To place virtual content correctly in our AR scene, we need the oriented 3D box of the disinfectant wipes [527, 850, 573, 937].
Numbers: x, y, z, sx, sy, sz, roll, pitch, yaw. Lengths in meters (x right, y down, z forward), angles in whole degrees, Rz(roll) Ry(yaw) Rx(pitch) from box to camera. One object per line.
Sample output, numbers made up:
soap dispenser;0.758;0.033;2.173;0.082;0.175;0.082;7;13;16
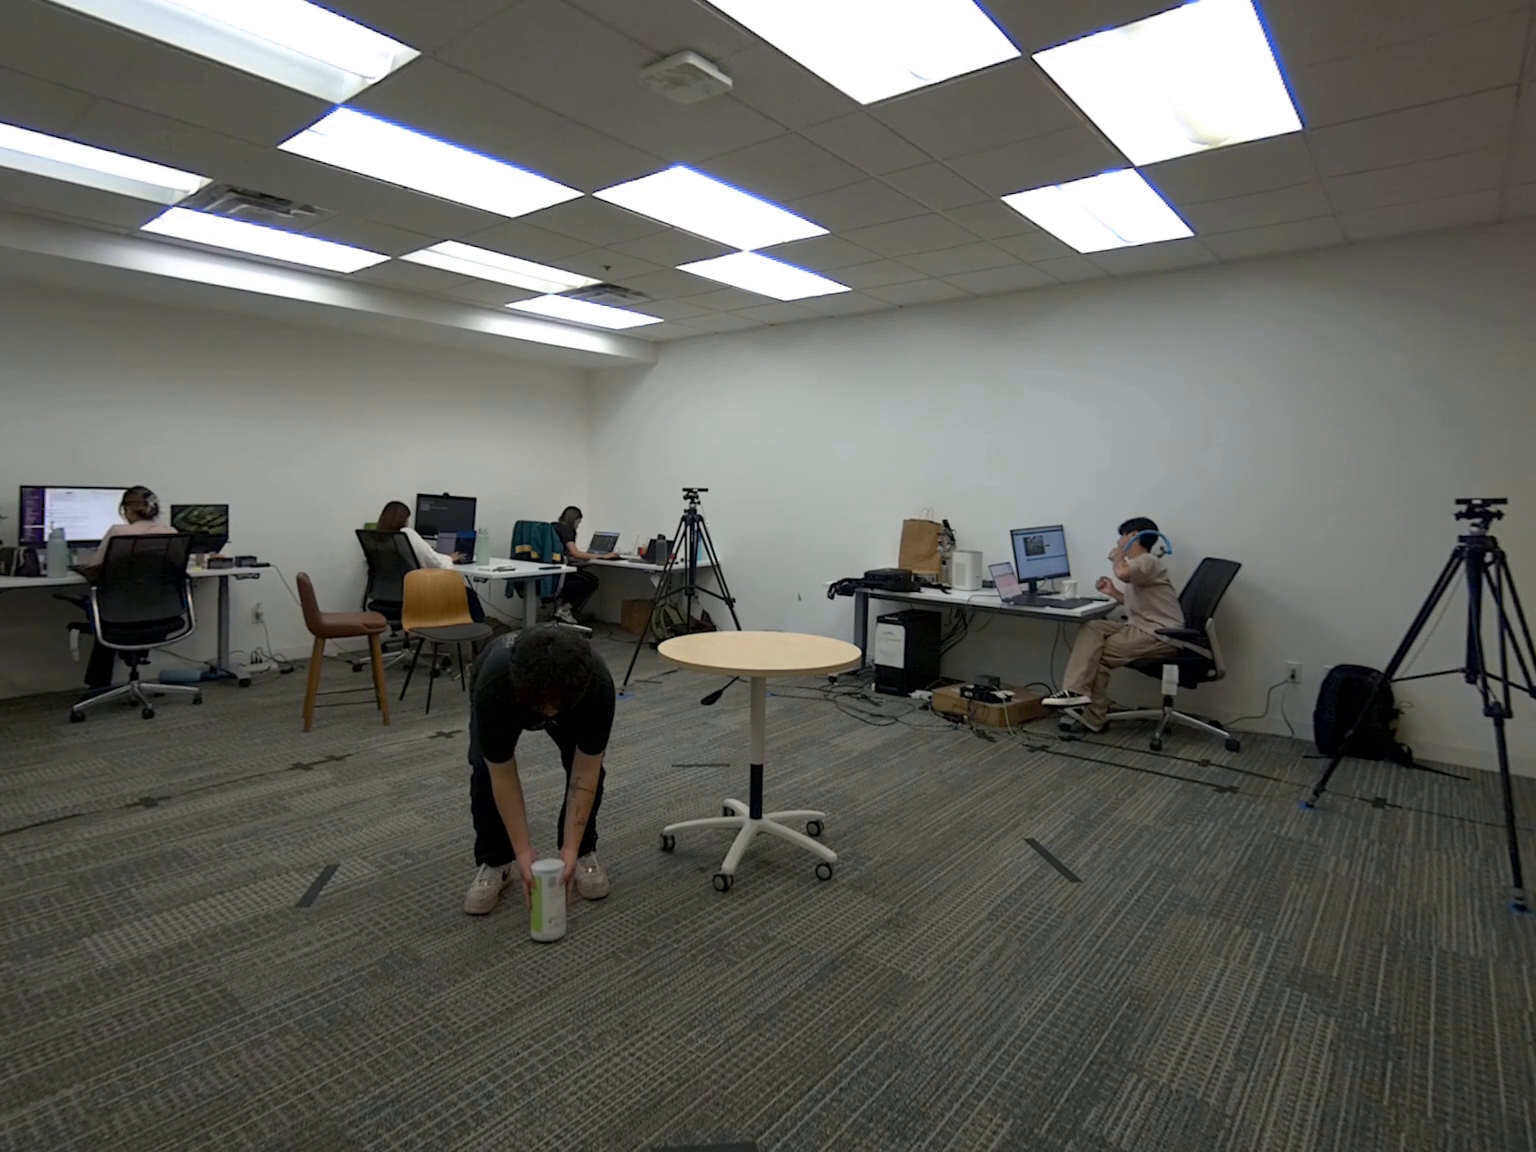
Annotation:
disinfectant wipes;-0.680;0.987;2.627;0.118;0.218;0.117;-1;-3;-2
